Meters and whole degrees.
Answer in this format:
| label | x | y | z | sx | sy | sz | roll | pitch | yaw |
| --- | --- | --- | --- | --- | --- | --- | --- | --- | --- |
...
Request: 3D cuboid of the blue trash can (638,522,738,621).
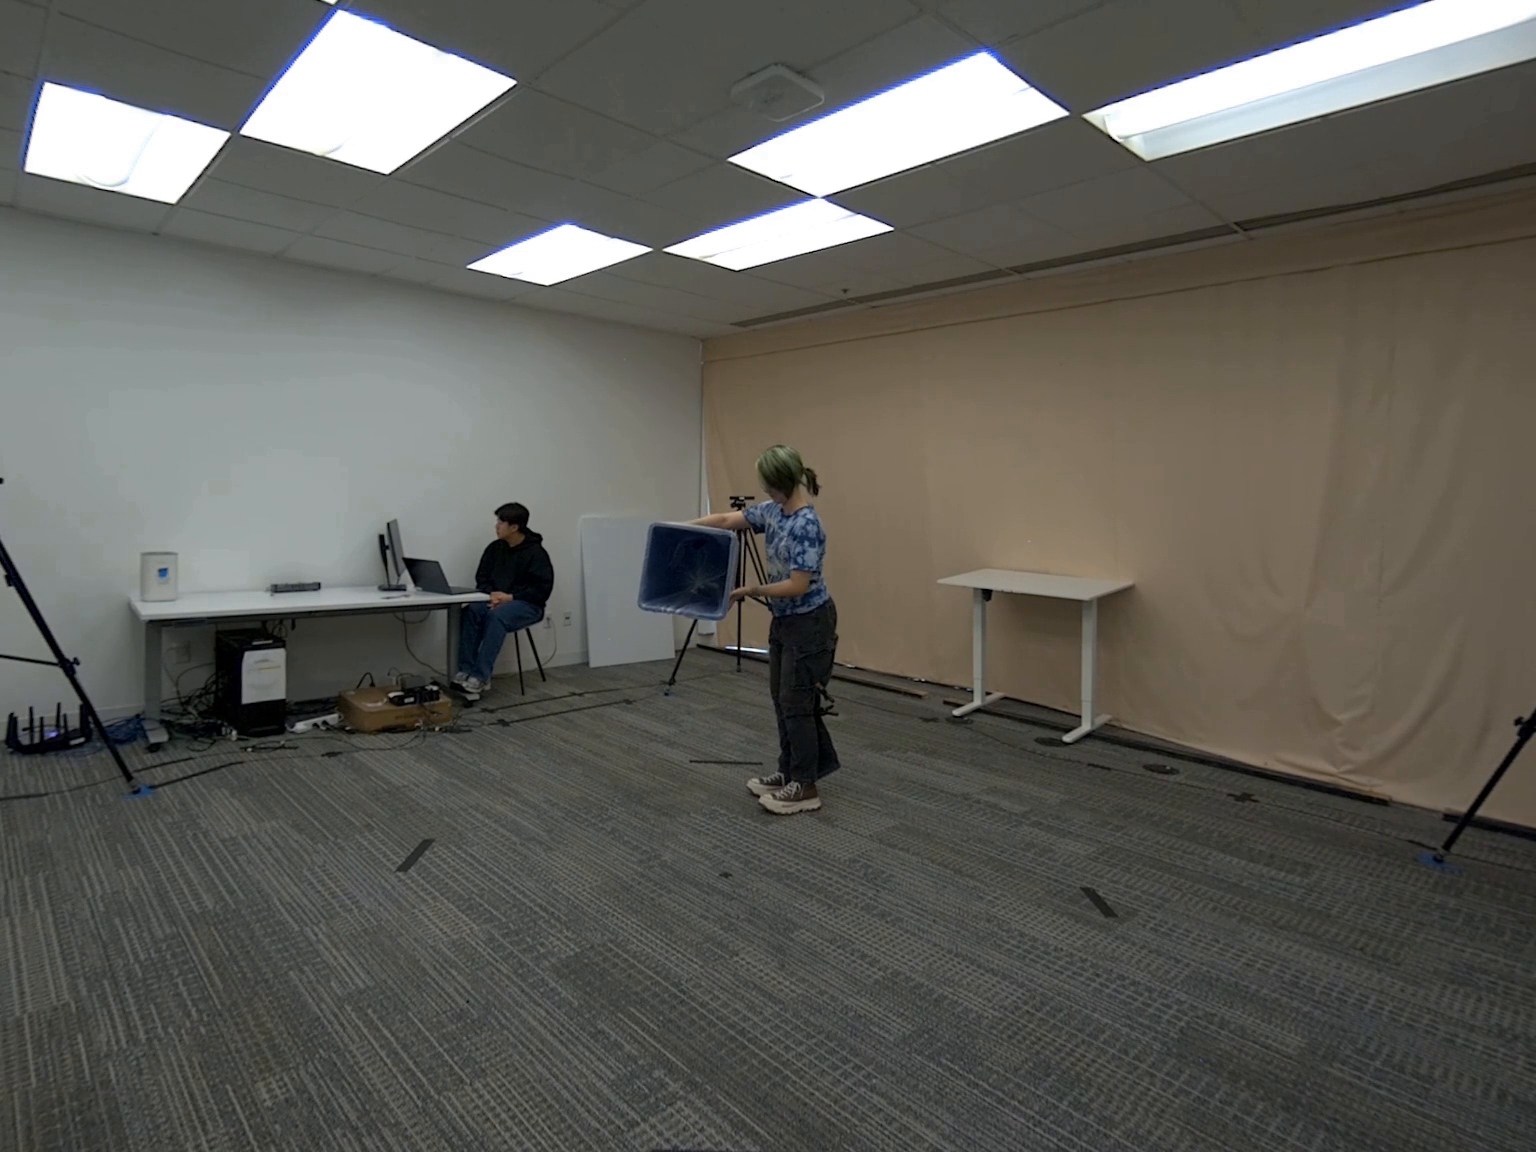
| label | x | y | z | sx | sy | sz | roll | pitch | yaw |
| --- | --- | --- | --- | --- | --- | --- | --- | --- | --- |
| blue trash can | -0.332 | -0.032 | 3.784 | 0.379 | 0.373 | 0.713 | 8 | 3 | 2 |
